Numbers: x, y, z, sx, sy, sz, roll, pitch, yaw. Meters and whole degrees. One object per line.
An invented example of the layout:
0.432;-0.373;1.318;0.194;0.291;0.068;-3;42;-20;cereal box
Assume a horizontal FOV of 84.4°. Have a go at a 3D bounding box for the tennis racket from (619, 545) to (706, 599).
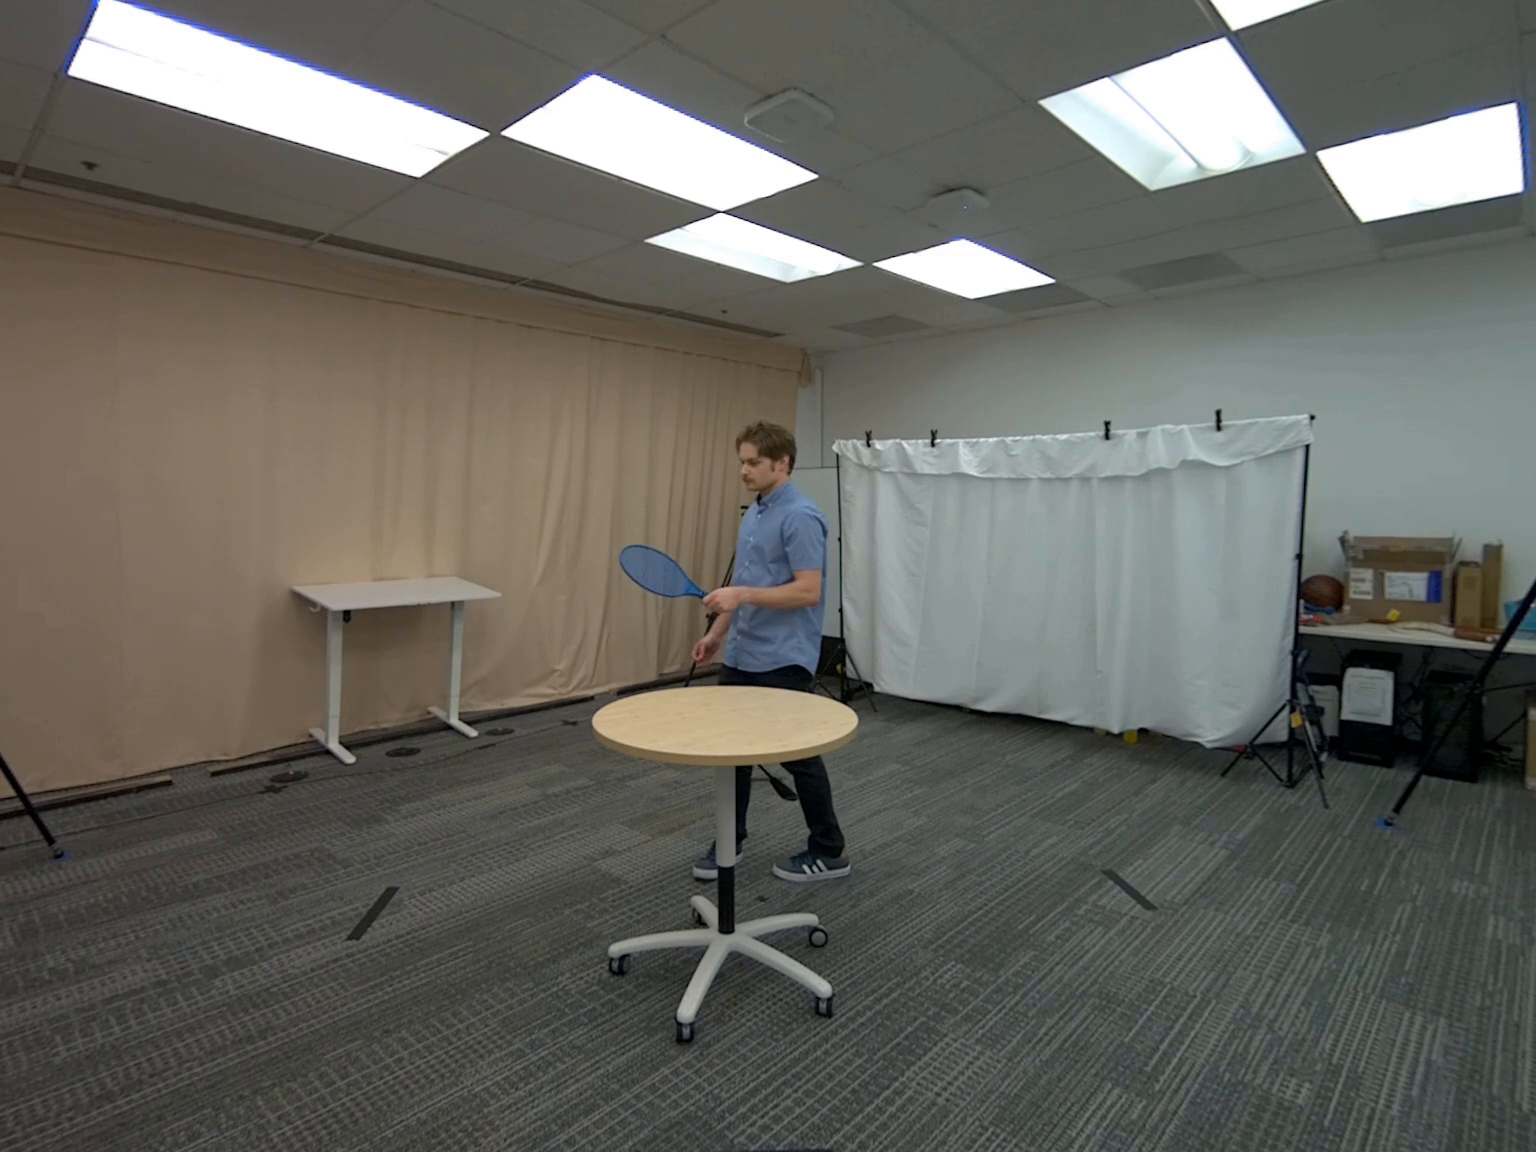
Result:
-0.313;0.021;2.930;0.423;0.217;0.032;25;-49;-19;tennis racket
